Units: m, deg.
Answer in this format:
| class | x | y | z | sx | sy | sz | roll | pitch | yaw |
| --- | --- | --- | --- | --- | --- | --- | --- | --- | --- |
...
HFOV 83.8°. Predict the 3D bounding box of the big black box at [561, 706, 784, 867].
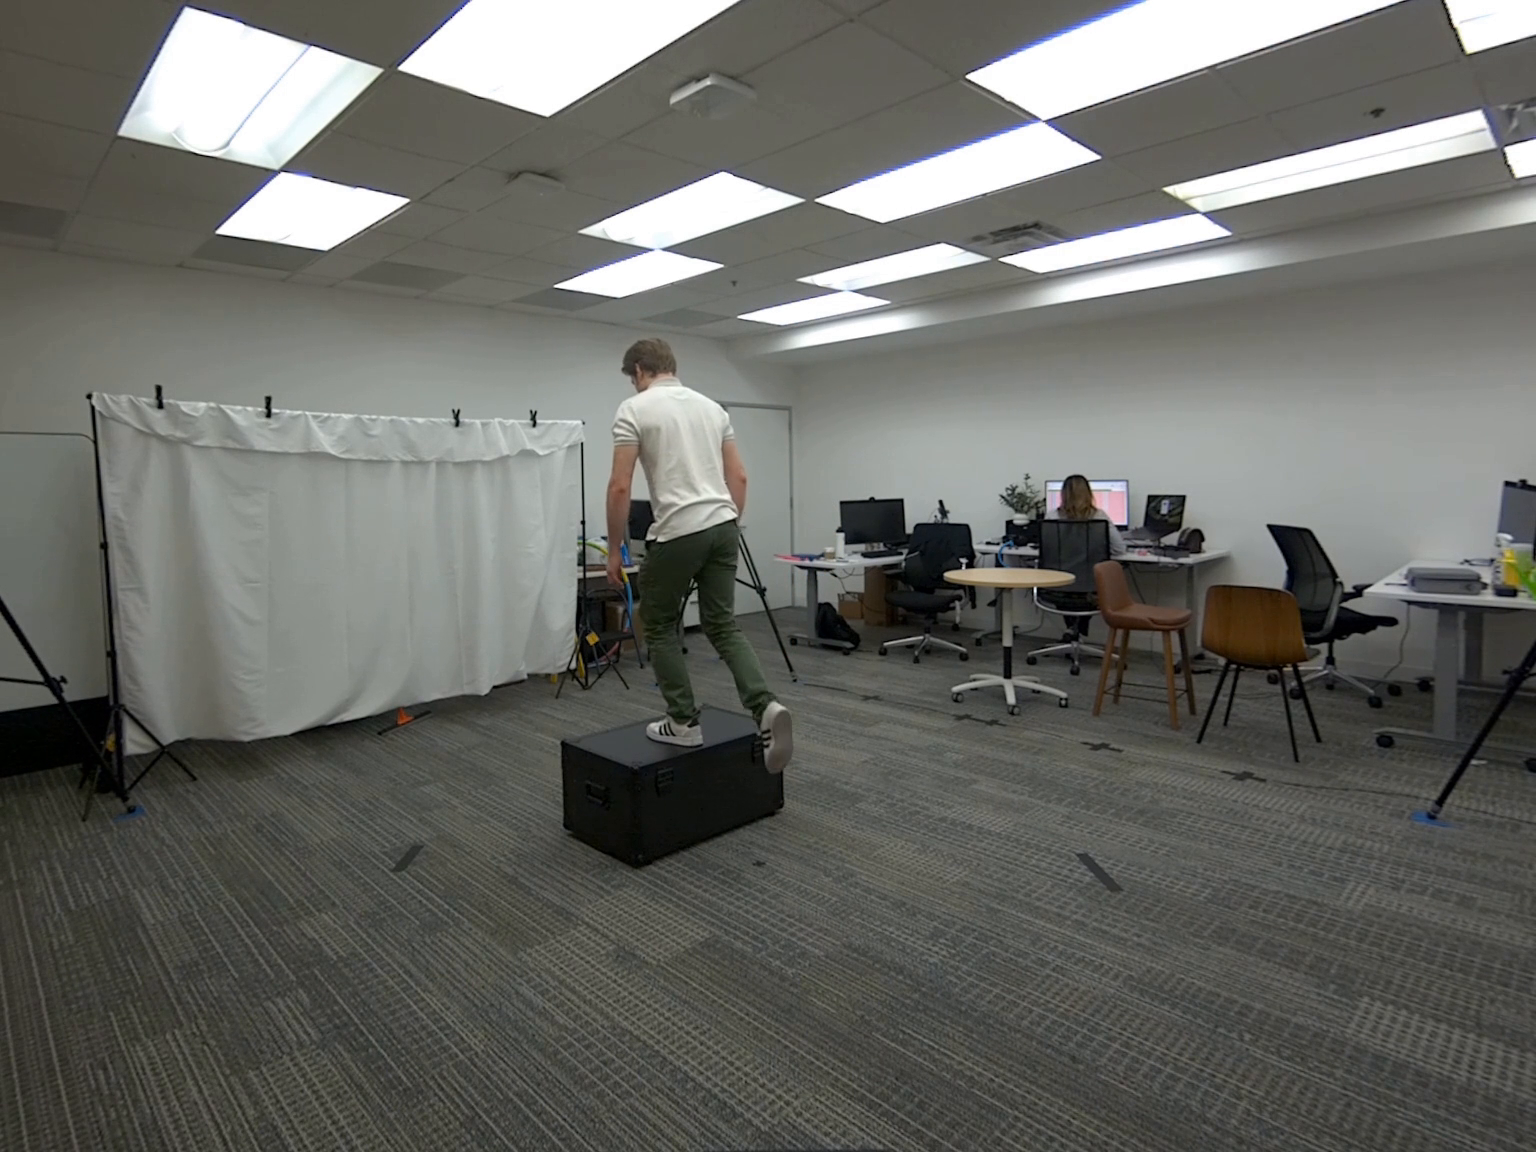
| class | x | y | z | sx | sy | sz | roll | pitch | yaw |
| --- | --- | --- | --- | --- | --- | --- | --- | --- | --- |
| big black box | -0.347 | 0.817 | 3.507 | 0.845 | 0.384 | 0.539 | -6 | 6 | -44 |
